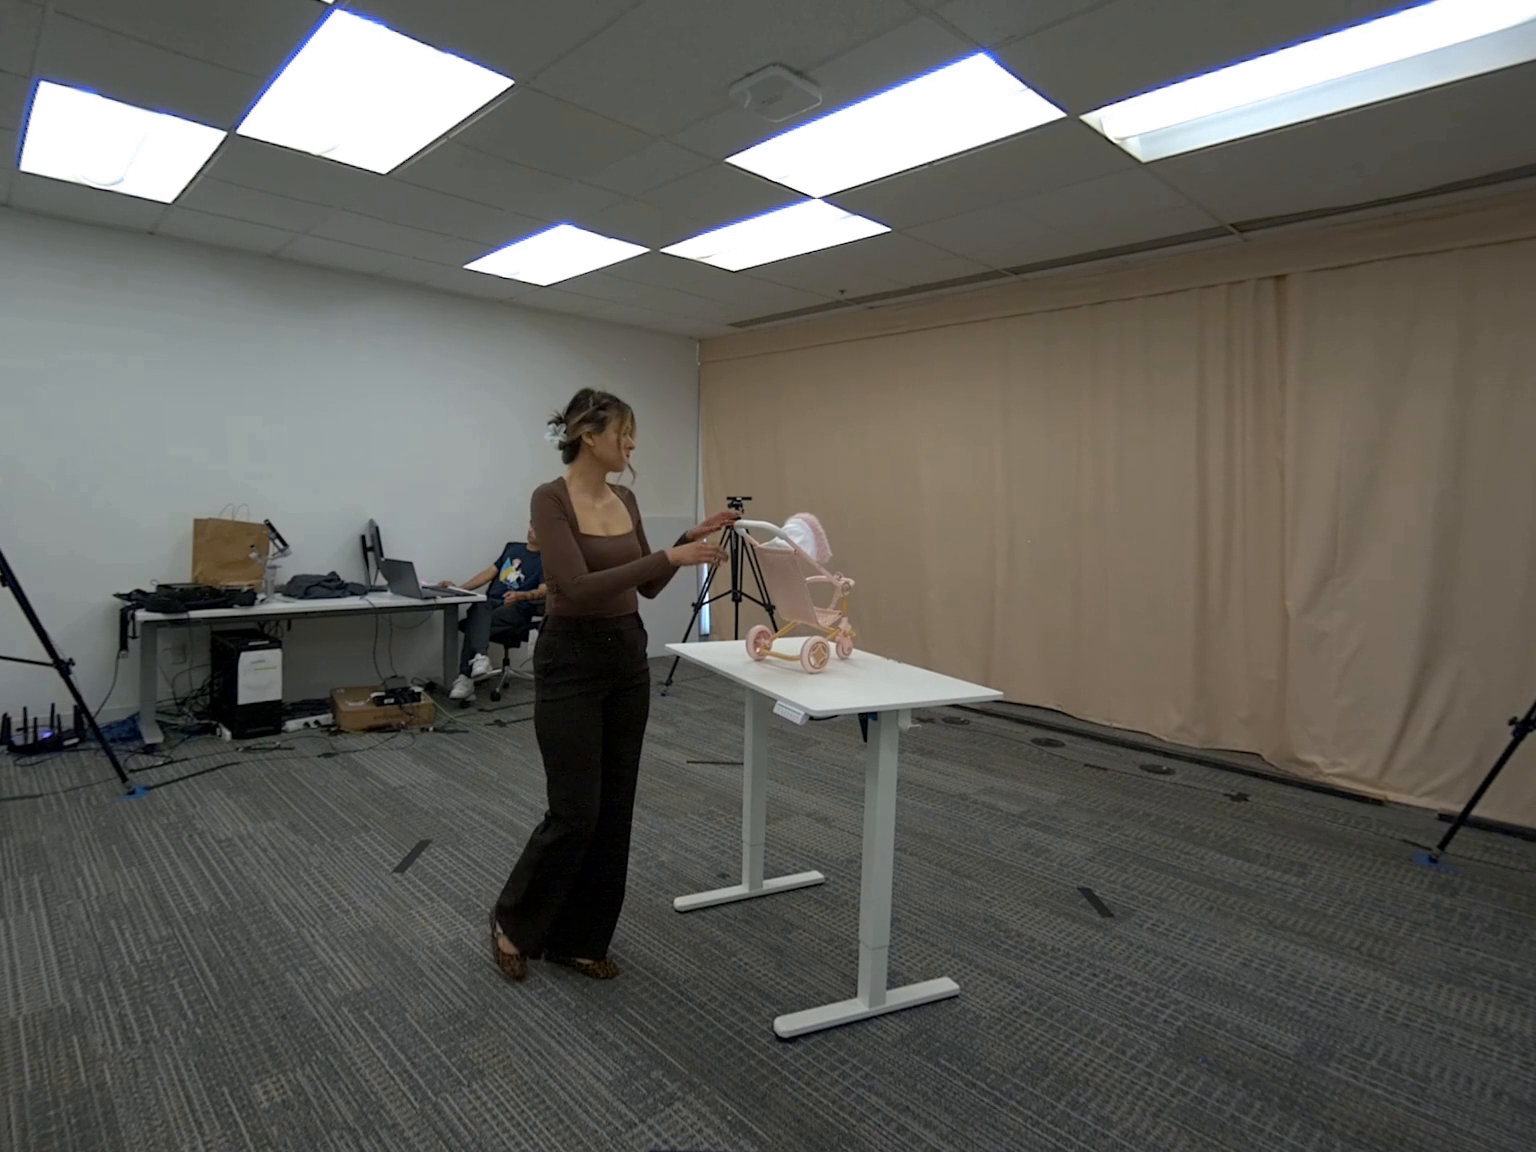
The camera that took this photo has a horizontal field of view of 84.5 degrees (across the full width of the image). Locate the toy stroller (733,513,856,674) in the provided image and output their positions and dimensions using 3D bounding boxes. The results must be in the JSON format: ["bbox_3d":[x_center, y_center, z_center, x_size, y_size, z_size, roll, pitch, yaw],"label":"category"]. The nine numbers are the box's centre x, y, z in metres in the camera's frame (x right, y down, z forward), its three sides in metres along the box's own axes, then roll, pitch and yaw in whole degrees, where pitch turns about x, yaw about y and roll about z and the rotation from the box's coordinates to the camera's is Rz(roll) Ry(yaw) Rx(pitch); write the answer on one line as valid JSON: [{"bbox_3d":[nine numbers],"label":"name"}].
[{"bbox_3d":[0.108,0.052,2.589,0.336,0.530,0.288,-18,14,-34],"label":"toy stroller"}]
